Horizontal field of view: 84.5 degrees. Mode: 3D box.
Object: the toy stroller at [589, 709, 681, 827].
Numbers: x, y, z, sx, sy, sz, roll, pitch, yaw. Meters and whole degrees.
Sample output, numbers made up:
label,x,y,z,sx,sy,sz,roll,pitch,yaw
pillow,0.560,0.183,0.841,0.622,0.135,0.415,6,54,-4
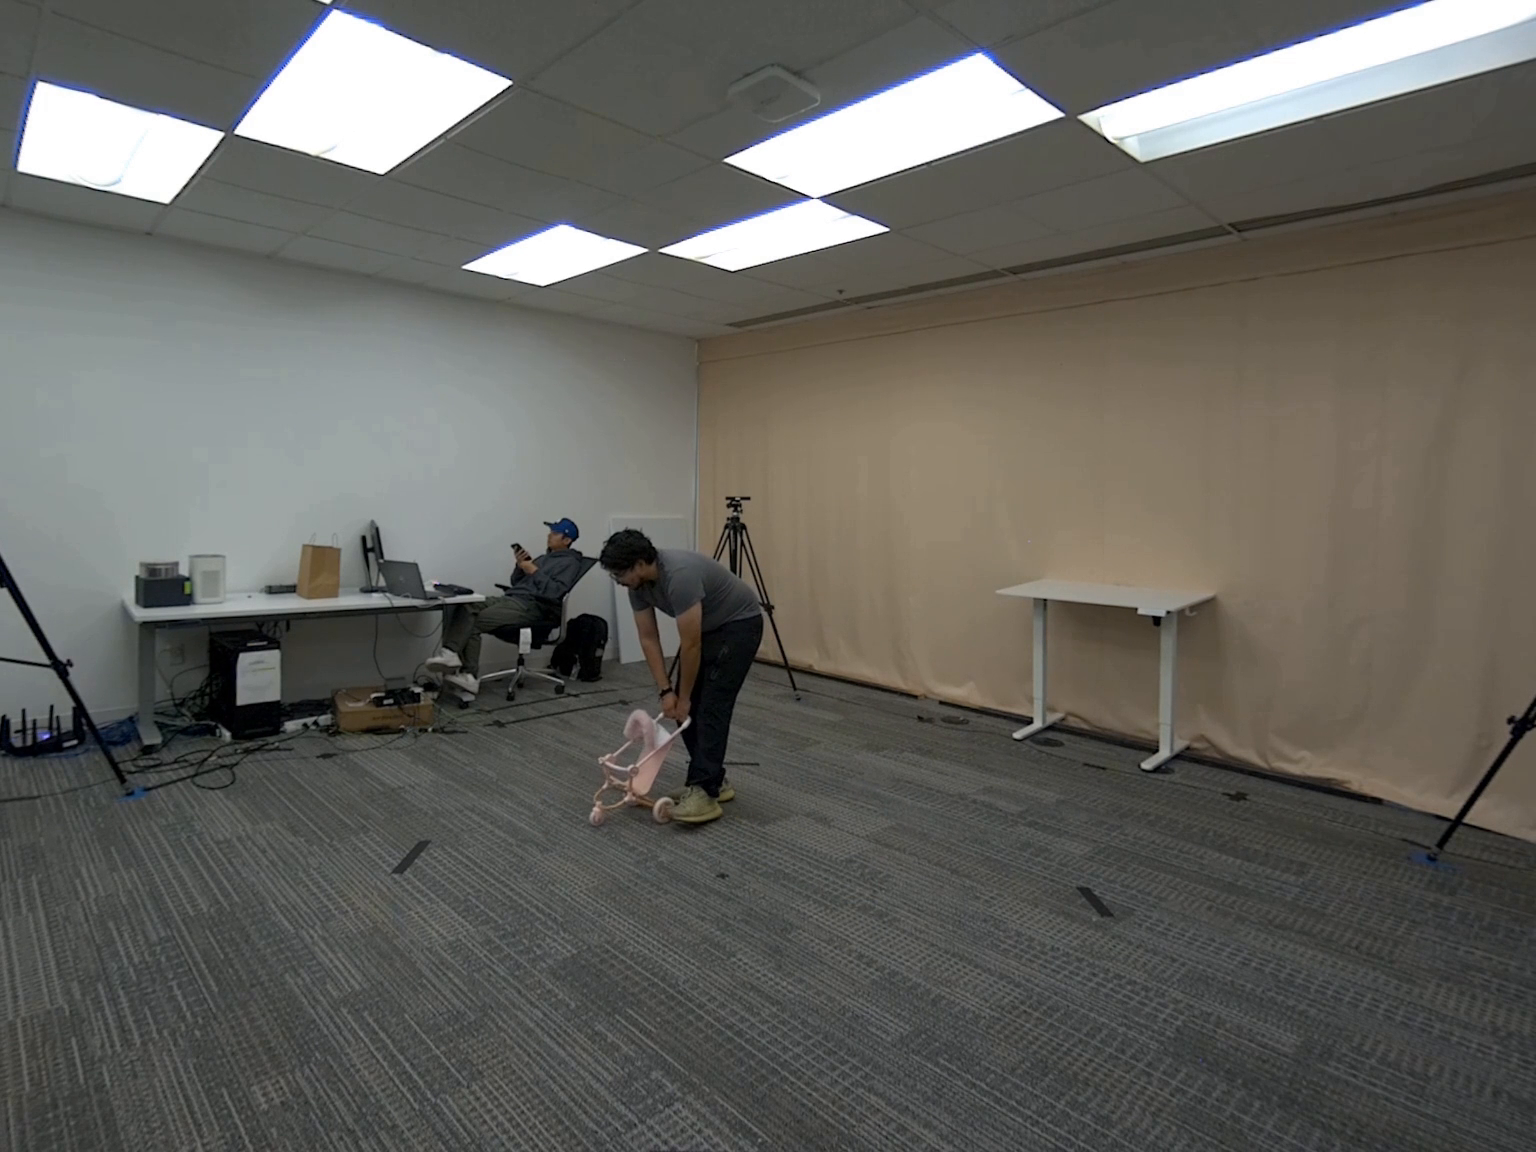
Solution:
label,x,y,z,sx,sy,sz,roll,pitch,yaw
toy stroller,-0.585,0.825,3.651,0.332,0.537,0.288,18,-7,-34
